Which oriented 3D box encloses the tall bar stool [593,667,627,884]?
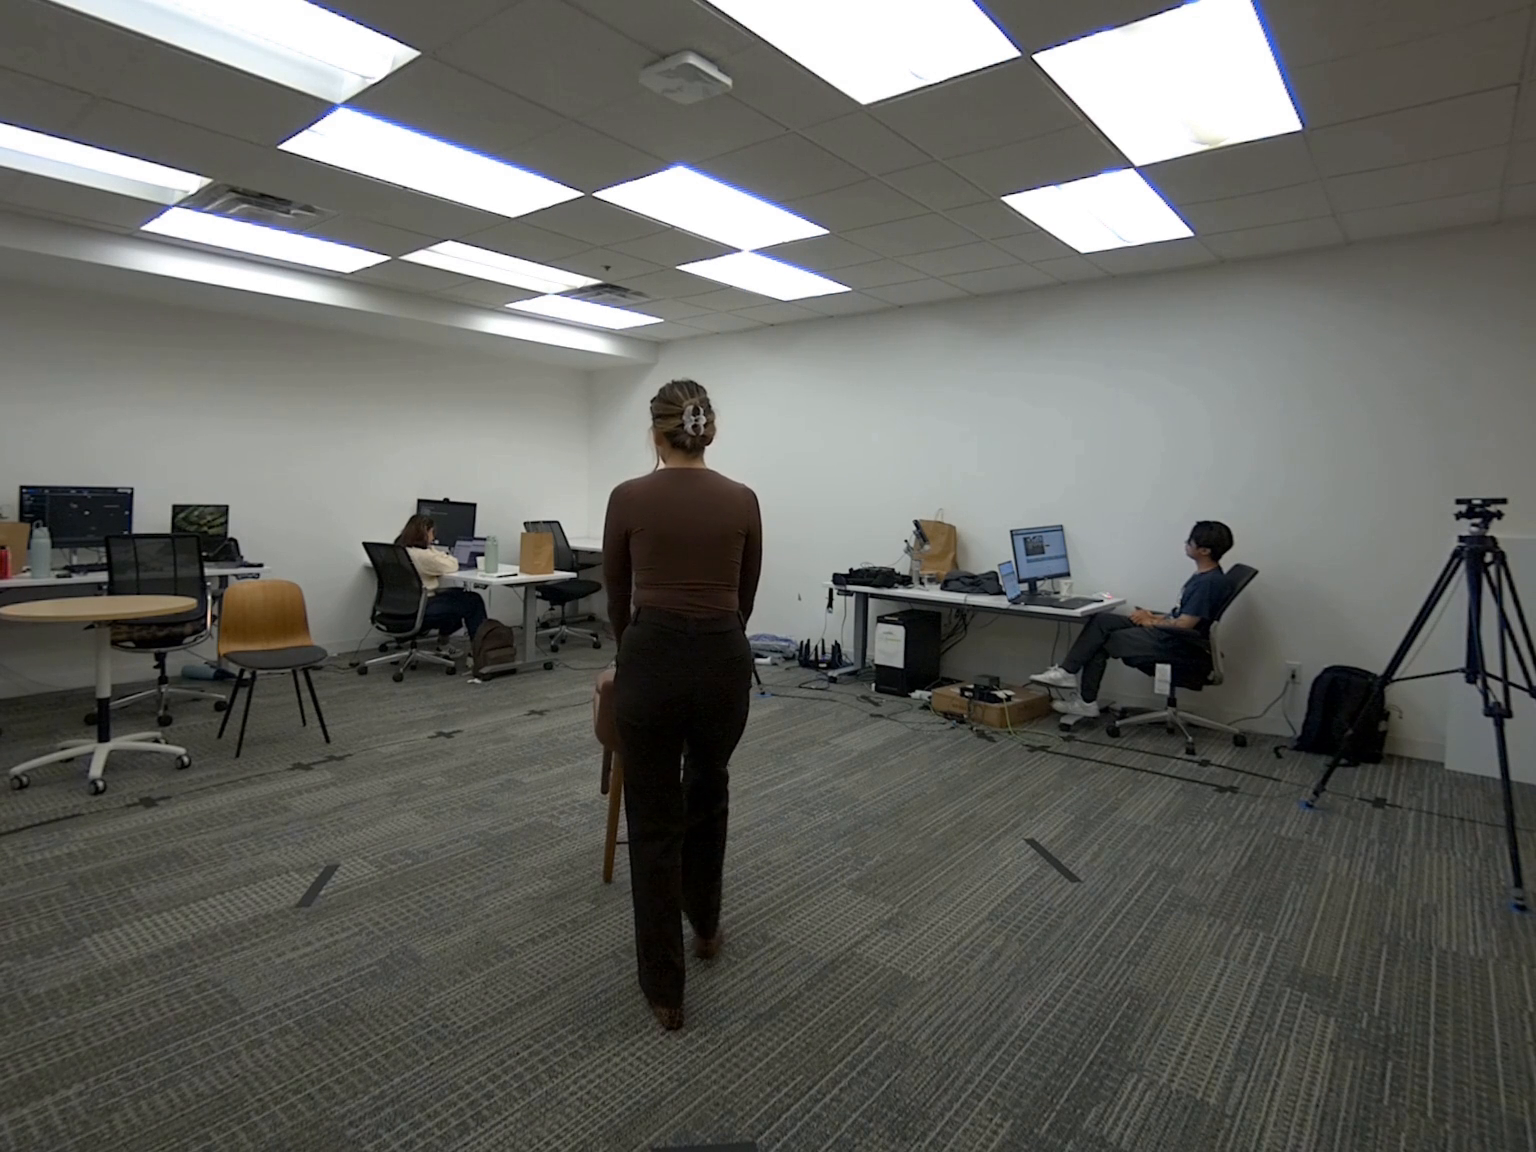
[{"bbox_3d":[-0.405,0.590,3.008,0.453,0.870,0.482,1,29,-9],"label":"tall bar stool"}]
